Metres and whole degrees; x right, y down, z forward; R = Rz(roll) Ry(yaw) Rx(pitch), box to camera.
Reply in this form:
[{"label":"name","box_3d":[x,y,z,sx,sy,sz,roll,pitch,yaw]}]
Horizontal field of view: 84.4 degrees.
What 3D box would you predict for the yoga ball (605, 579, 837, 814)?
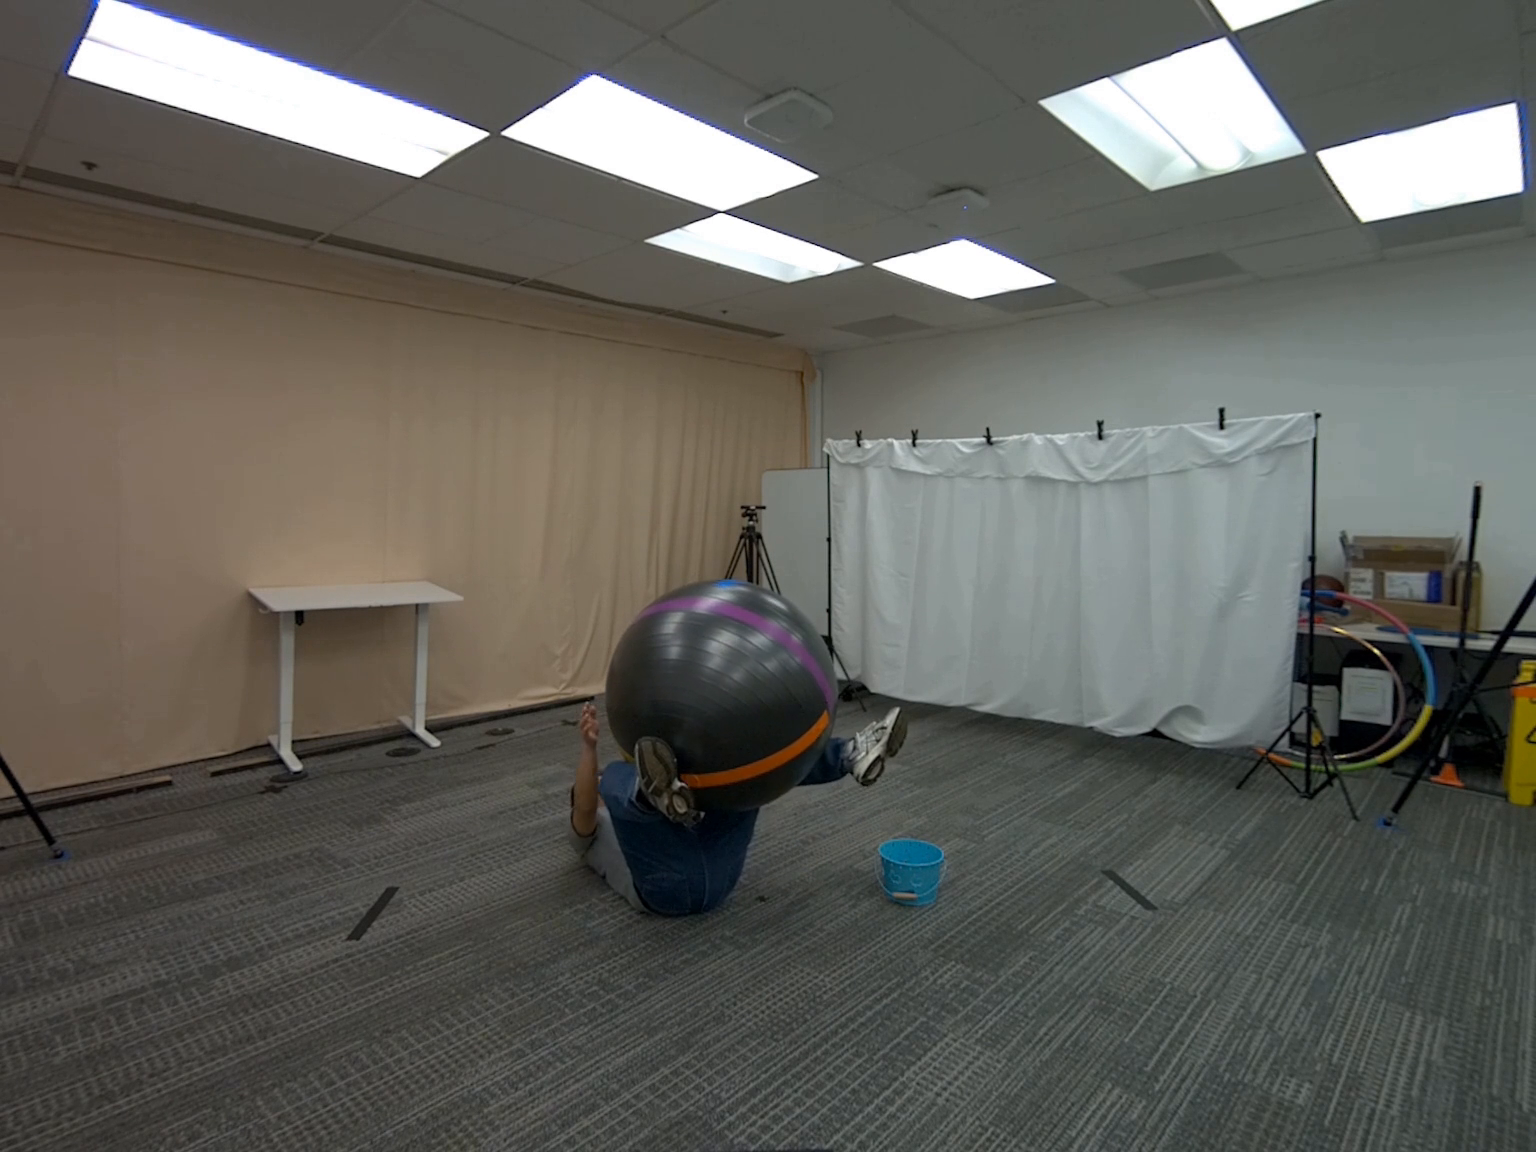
[{"label":"yoga ball","box_3d":[-0.154,0.393,2.772,0.757,0.756,0.761,0,4,-2]}]
